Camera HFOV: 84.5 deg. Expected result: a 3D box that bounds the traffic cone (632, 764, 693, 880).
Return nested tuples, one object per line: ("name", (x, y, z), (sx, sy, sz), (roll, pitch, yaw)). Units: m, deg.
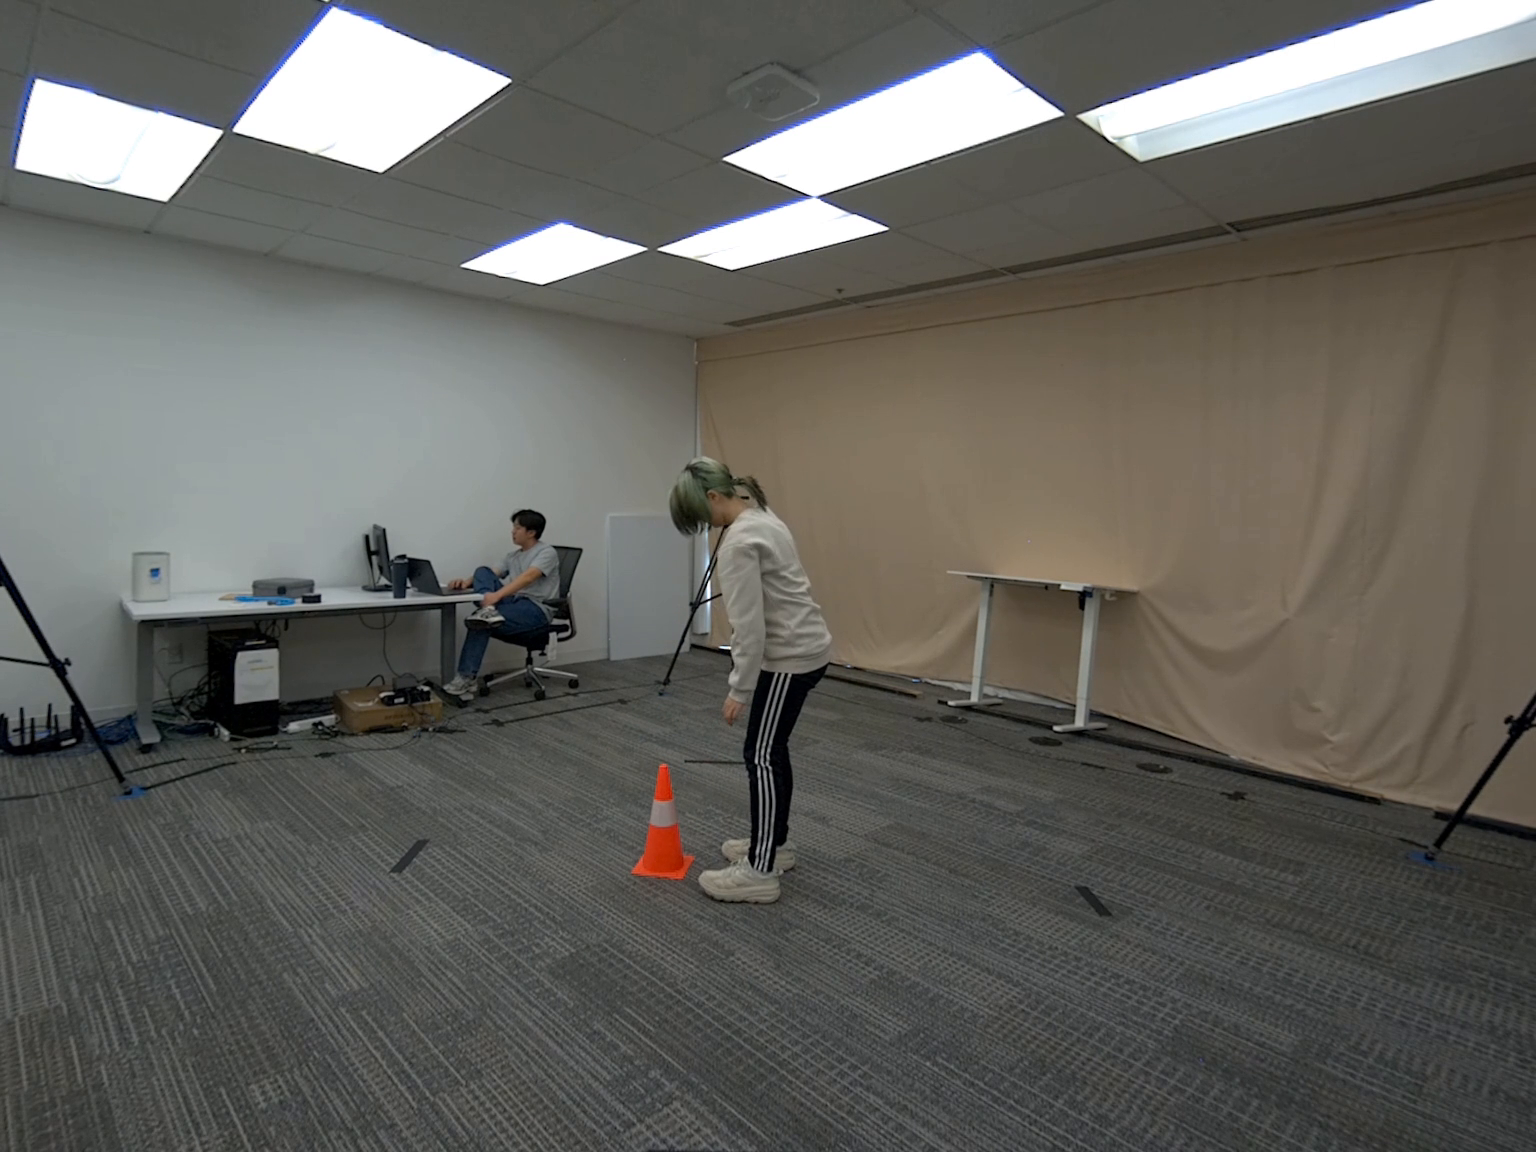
("traffic cone", (-0.403, 0.909, 3.168), (0.205, 0.383, 0.203), (2, 2, 12))
